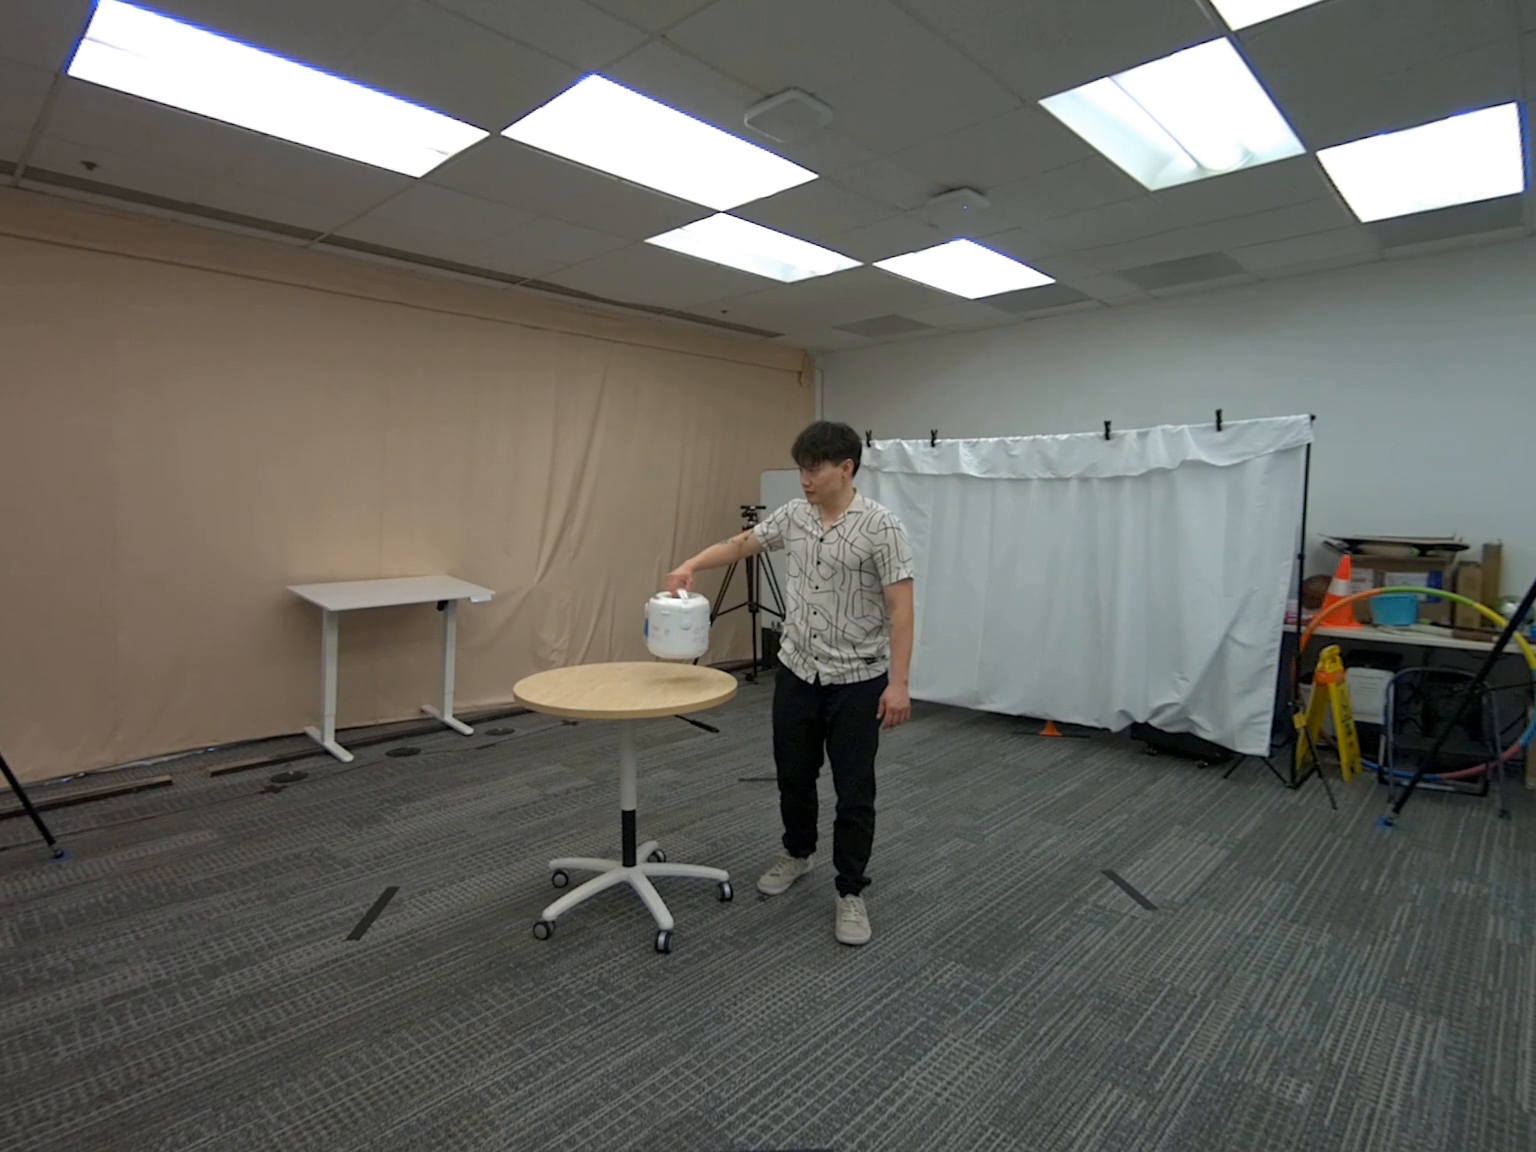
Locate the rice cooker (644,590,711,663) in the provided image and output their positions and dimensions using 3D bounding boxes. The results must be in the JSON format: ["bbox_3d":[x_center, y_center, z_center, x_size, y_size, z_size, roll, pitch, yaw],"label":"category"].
[{"bbox_3d":[-0.308,0.158,2.921,0.214,0.231,0.225,-1,9,-17],"label":"rice cooker"}]
